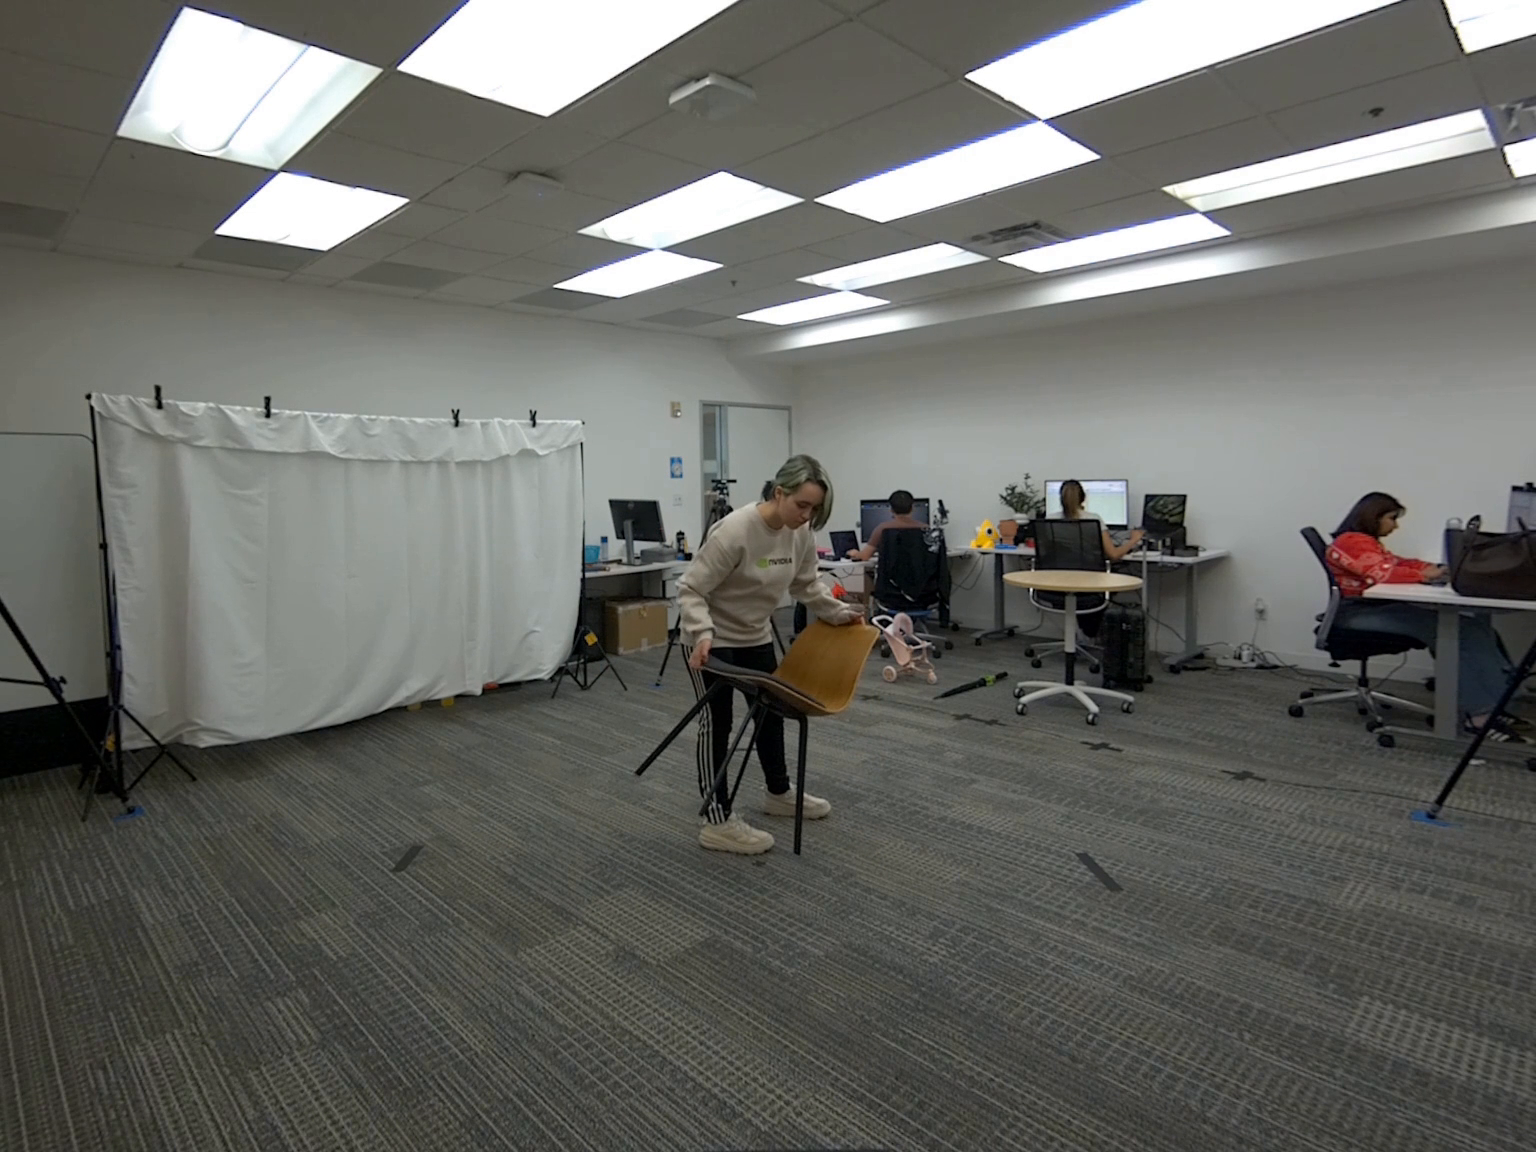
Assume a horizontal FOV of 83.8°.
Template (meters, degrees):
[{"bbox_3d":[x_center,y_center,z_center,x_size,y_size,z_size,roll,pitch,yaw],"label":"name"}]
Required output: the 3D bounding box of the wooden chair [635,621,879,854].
[{"bbox_3d":[-0.016,0.446,3.012,0.505,0.882,0.492,36,-16,-31],"label":"wooden chair"}]
